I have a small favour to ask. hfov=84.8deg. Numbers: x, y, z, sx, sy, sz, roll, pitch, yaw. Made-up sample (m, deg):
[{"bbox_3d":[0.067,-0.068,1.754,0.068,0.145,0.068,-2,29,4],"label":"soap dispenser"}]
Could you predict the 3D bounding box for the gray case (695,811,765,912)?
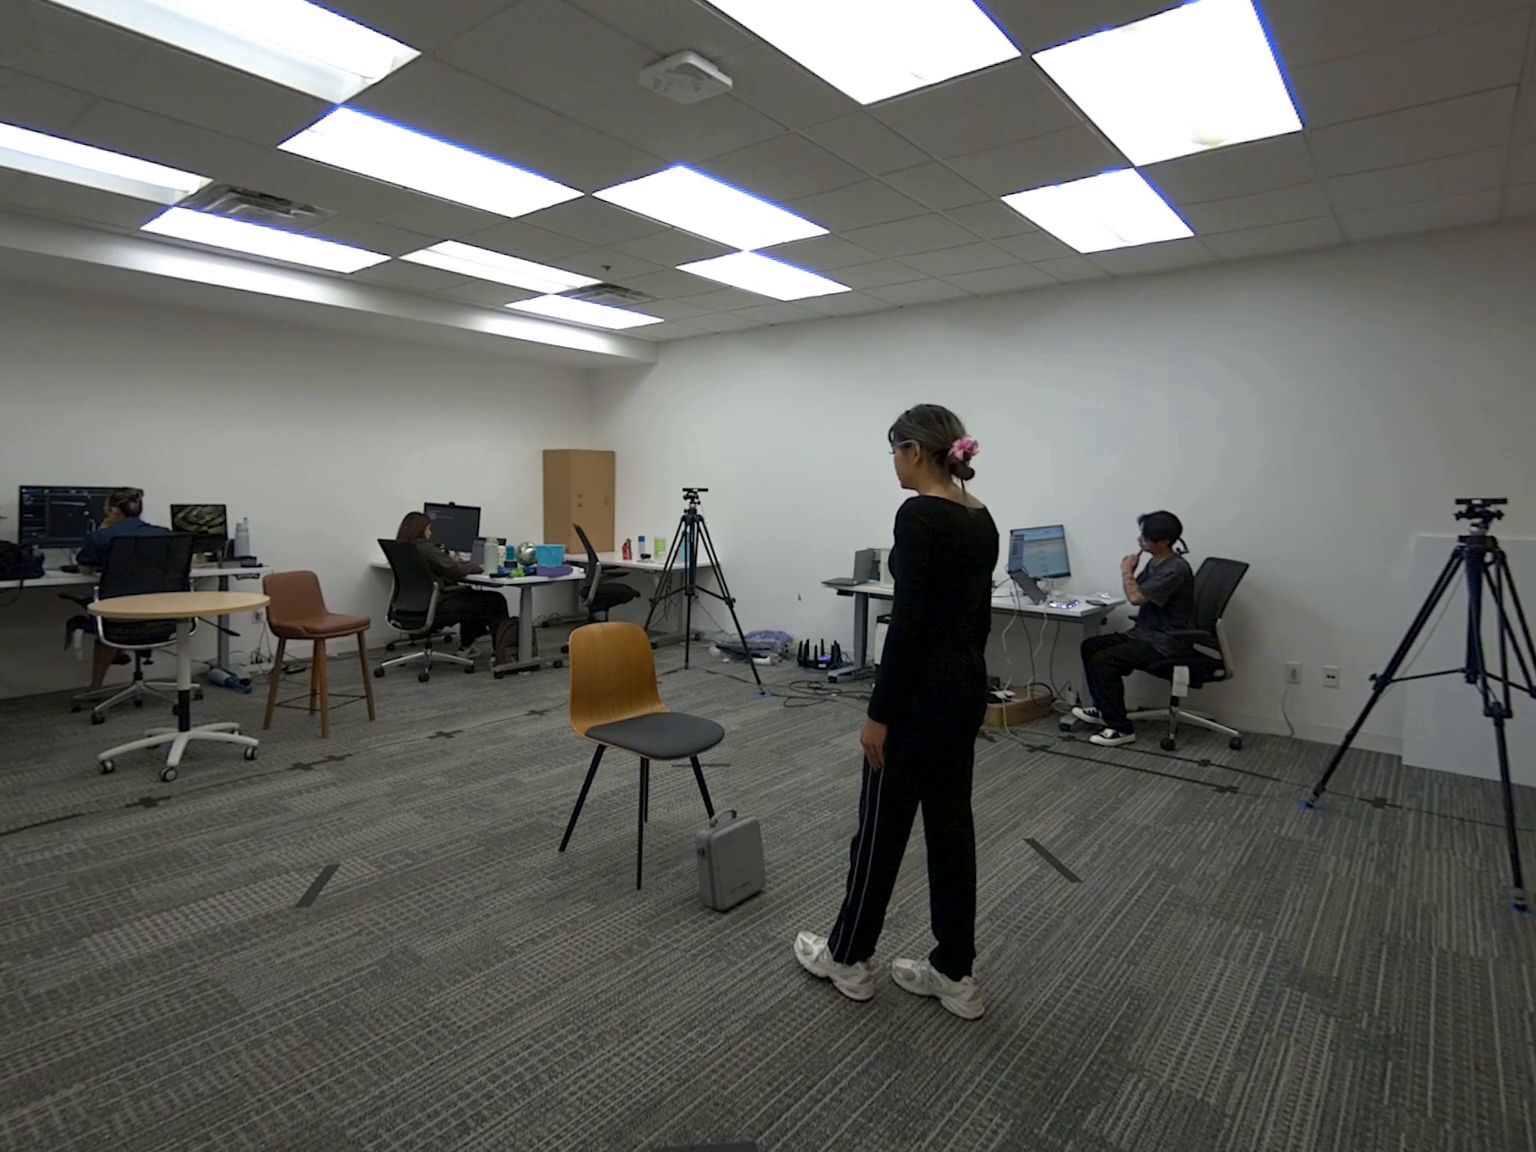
[{"bbox_3d":[-0.135,0.962,2.894,0.107,0.262,0.249,-10,-4,39],"label":"gray case"}]
